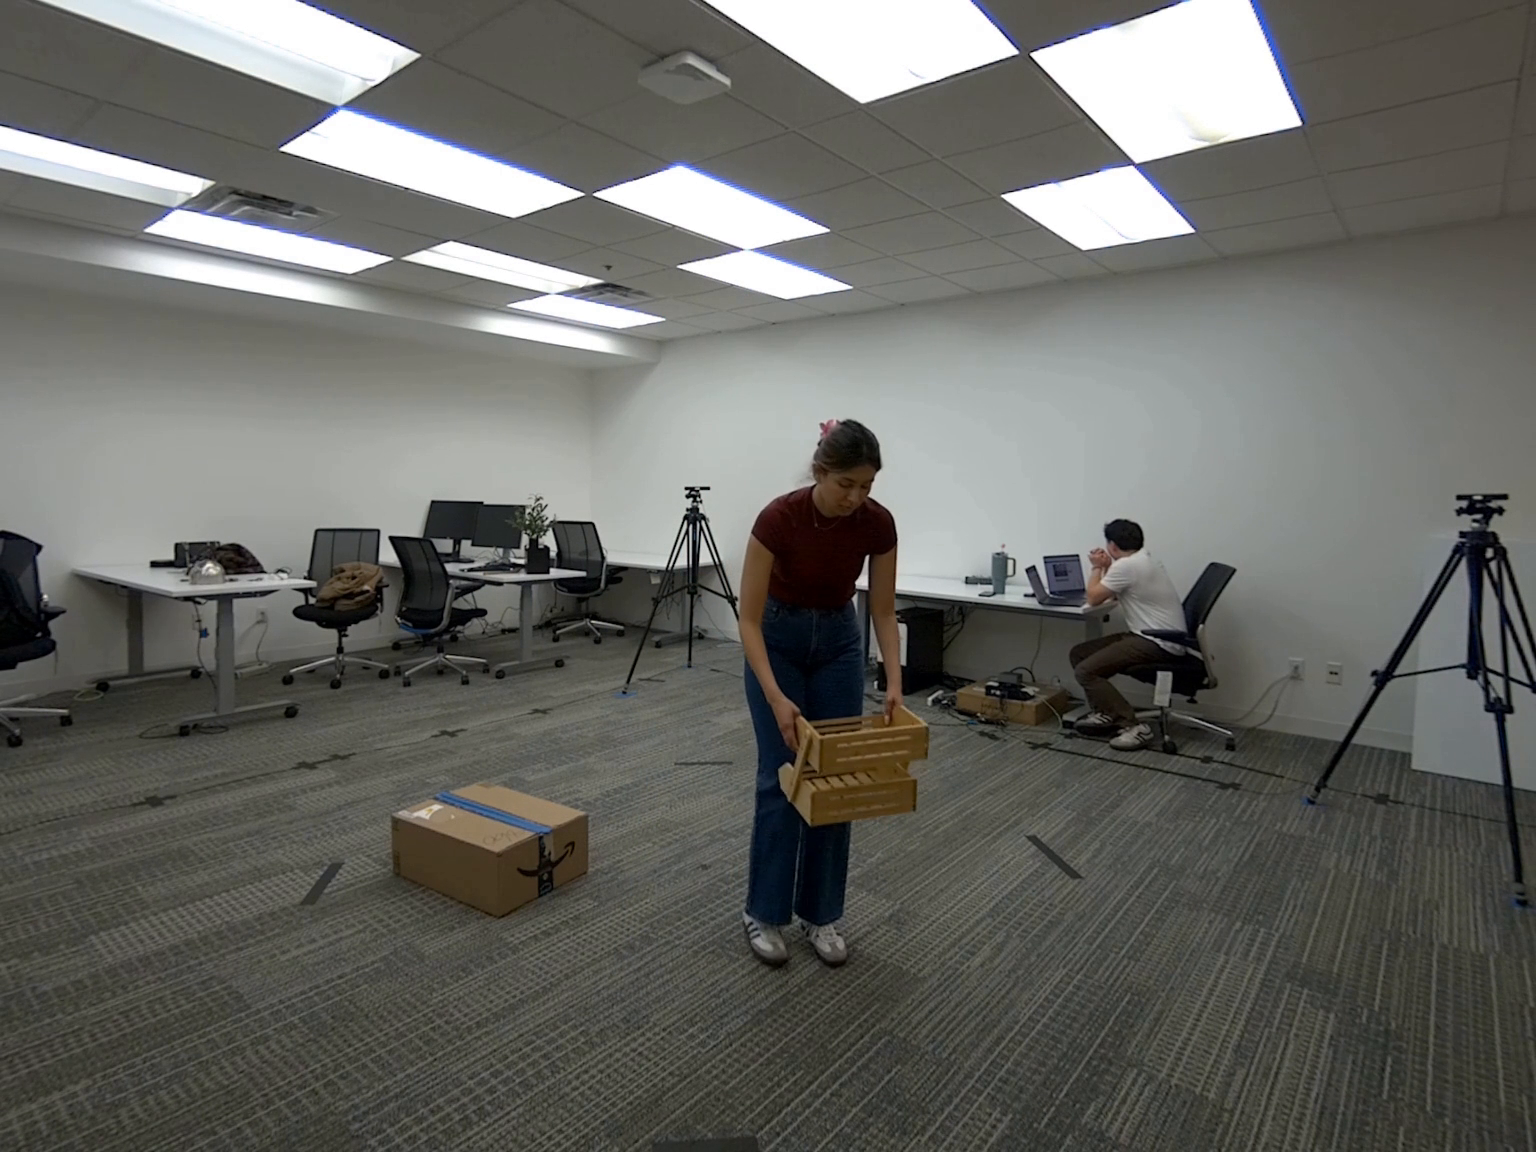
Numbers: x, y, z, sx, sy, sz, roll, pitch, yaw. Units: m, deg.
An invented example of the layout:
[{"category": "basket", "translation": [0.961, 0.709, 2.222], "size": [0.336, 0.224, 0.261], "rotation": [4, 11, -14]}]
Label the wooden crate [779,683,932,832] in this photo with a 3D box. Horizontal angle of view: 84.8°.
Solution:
[{"category": "wooden crate", "translation": [0.213, 0.486, 2.290], "size": [0.319, 0.270, 0.310], "rotation": [-3, 12, -18]}]
